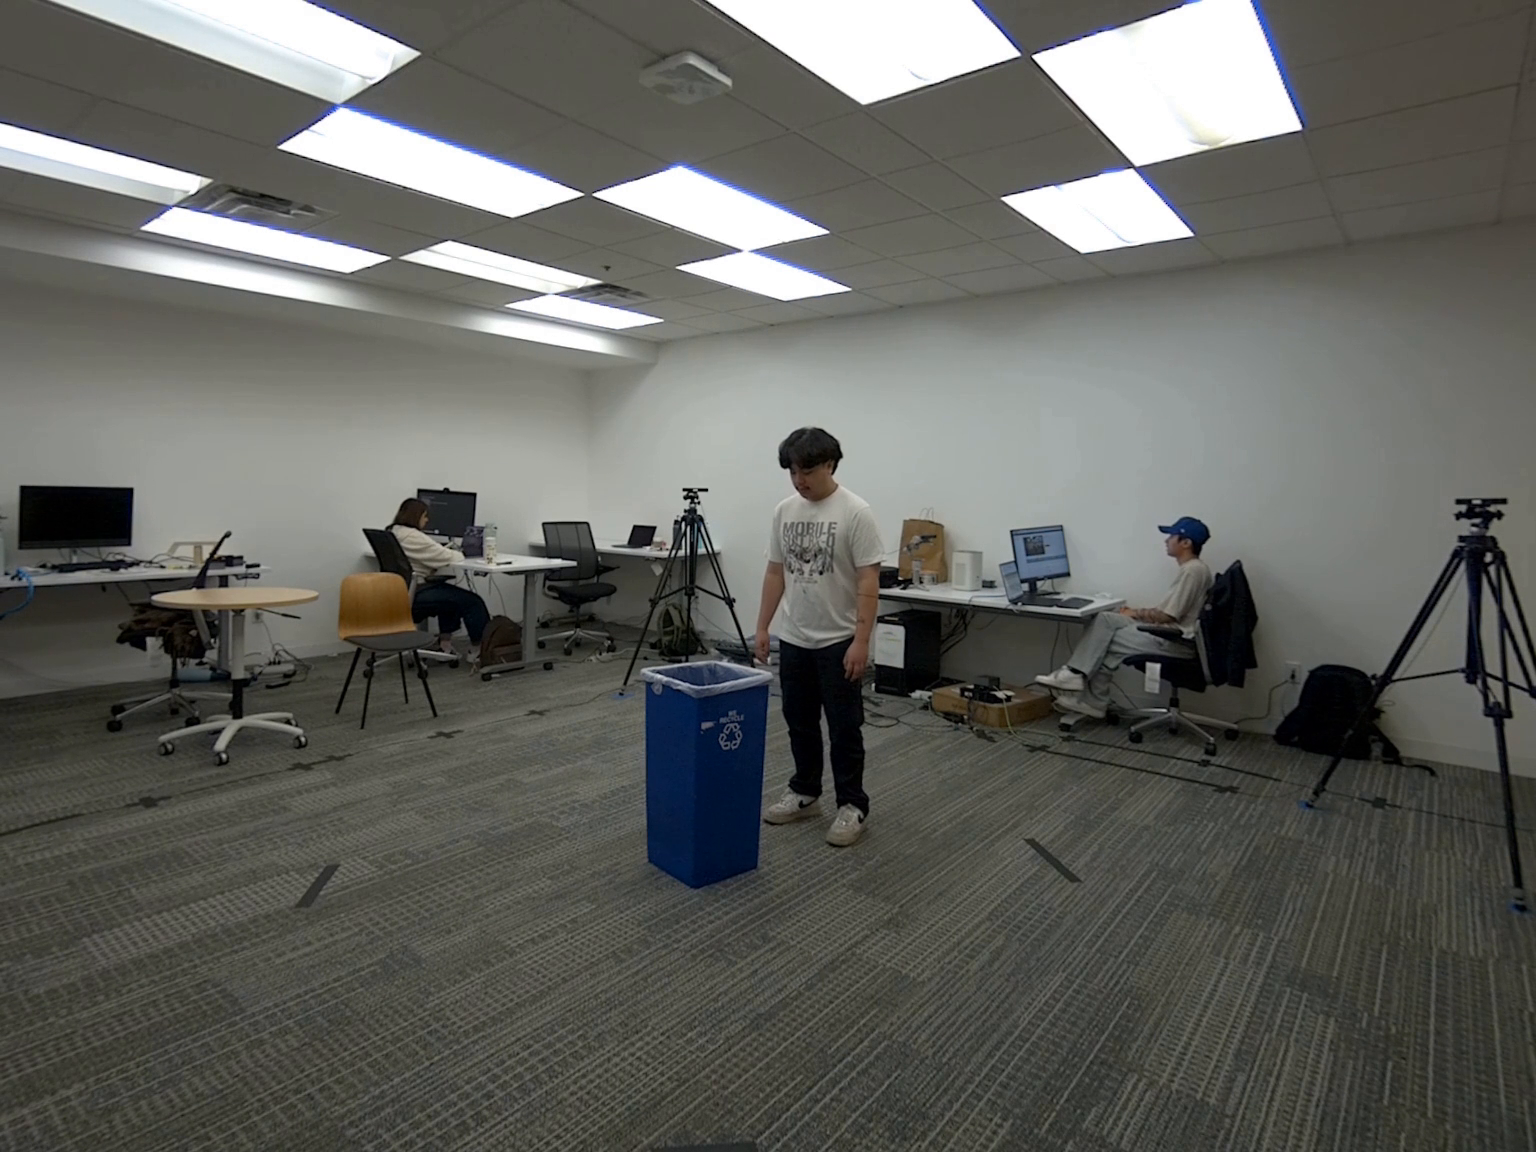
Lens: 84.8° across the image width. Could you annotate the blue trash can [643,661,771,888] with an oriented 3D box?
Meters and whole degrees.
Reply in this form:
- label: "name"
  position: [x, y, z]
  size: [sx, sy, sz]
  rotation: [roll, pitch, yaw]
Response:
- label: "blue trash can"
  position: [-0.240, 0.707, 3.144]
  size: [0.363, 0.711, 0.391]
  rotation: [-2, 5, -41]
